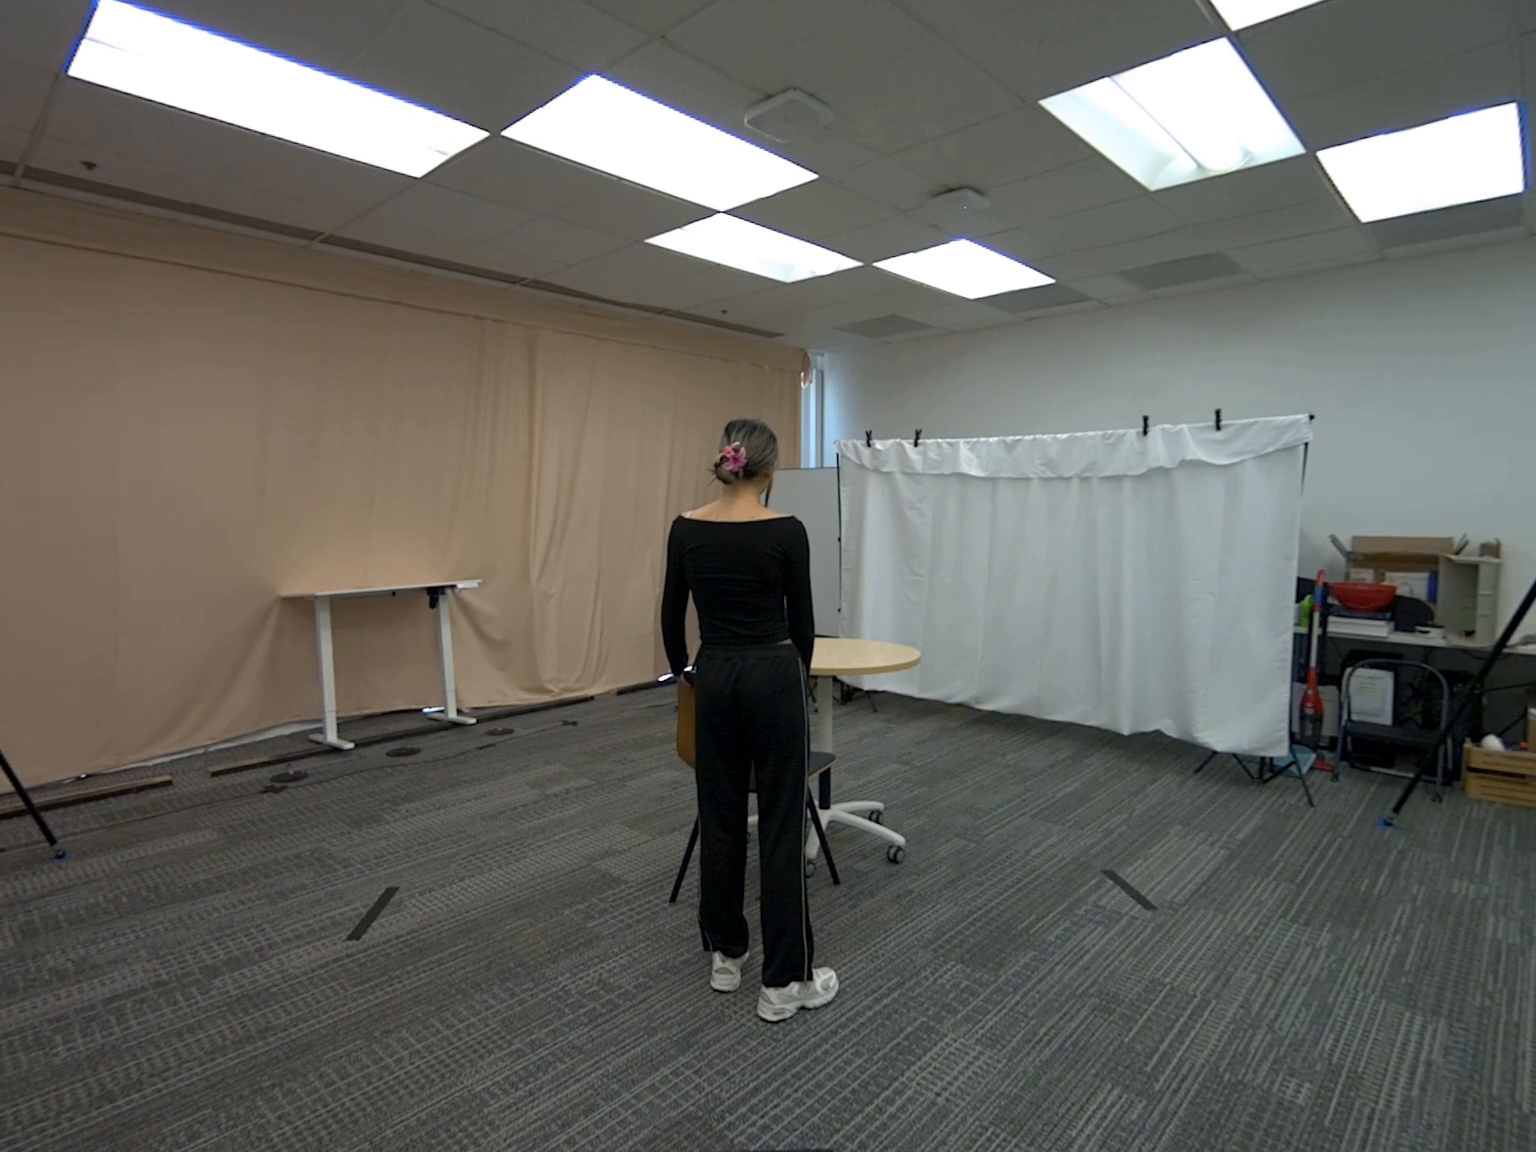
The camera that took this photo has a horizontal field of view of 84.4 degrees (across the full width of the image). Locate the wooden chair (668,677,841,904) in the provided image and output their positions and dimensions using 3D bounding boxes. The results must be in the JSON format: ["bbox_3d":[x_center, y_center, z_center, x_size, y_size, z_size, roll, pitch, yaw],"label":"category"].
[{"bbox_3d":[-0.039,0.712,3.001,0.492,0.873,0.510,1,8,32],"label":"wooden chair"}]
